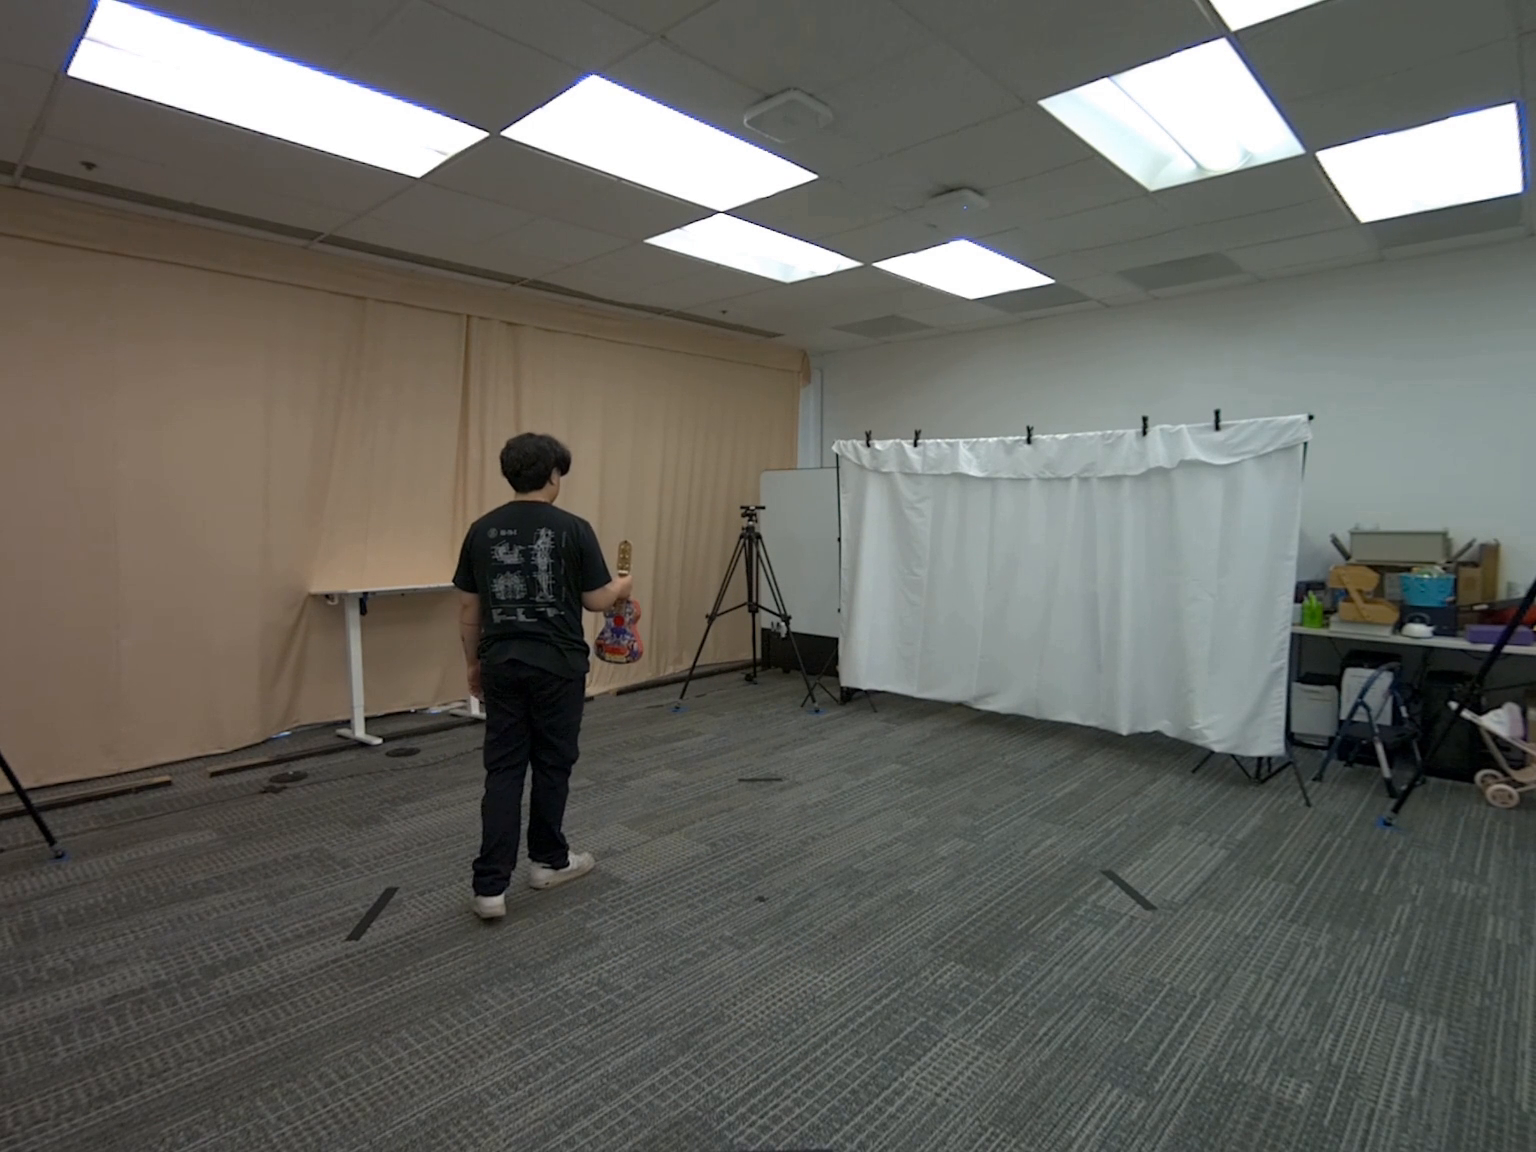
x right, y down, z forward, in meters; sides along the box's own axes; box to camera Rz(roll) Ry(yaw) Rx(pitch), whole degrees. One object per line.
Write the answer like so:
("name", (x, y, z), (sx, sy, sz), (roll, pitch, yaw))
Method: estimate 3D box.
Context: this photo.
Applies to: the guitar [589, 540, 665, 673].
("guitar", (-0.573, 0.119, 3.414), (0.196, 0.498, 0.069), (12, 0, 13))
